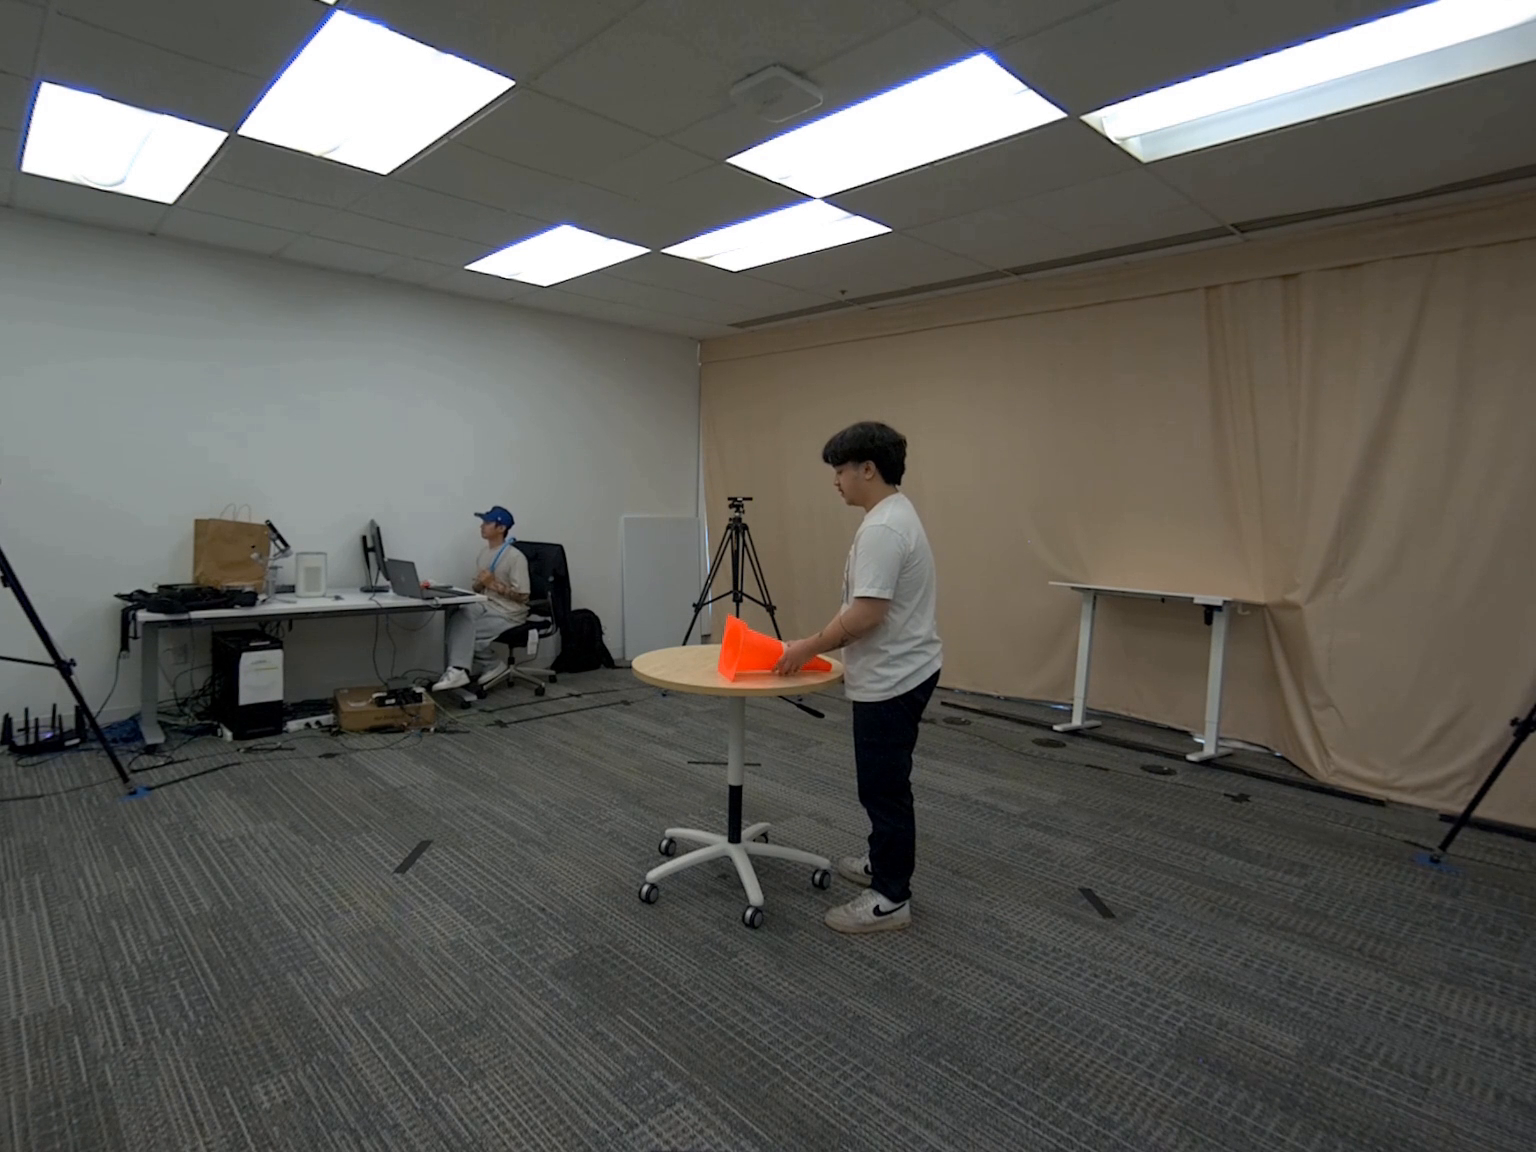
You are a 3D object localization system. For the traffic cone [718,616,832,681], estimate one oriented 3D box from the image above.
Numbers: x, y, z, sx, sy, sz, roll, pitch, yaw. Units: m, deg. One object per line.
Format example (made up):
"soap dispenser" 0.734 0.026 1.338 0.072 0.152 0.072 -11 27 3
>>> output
"traffic cone" 0.045 0.284 2.890 0.377 0.204 0.208 14 -3 -18
